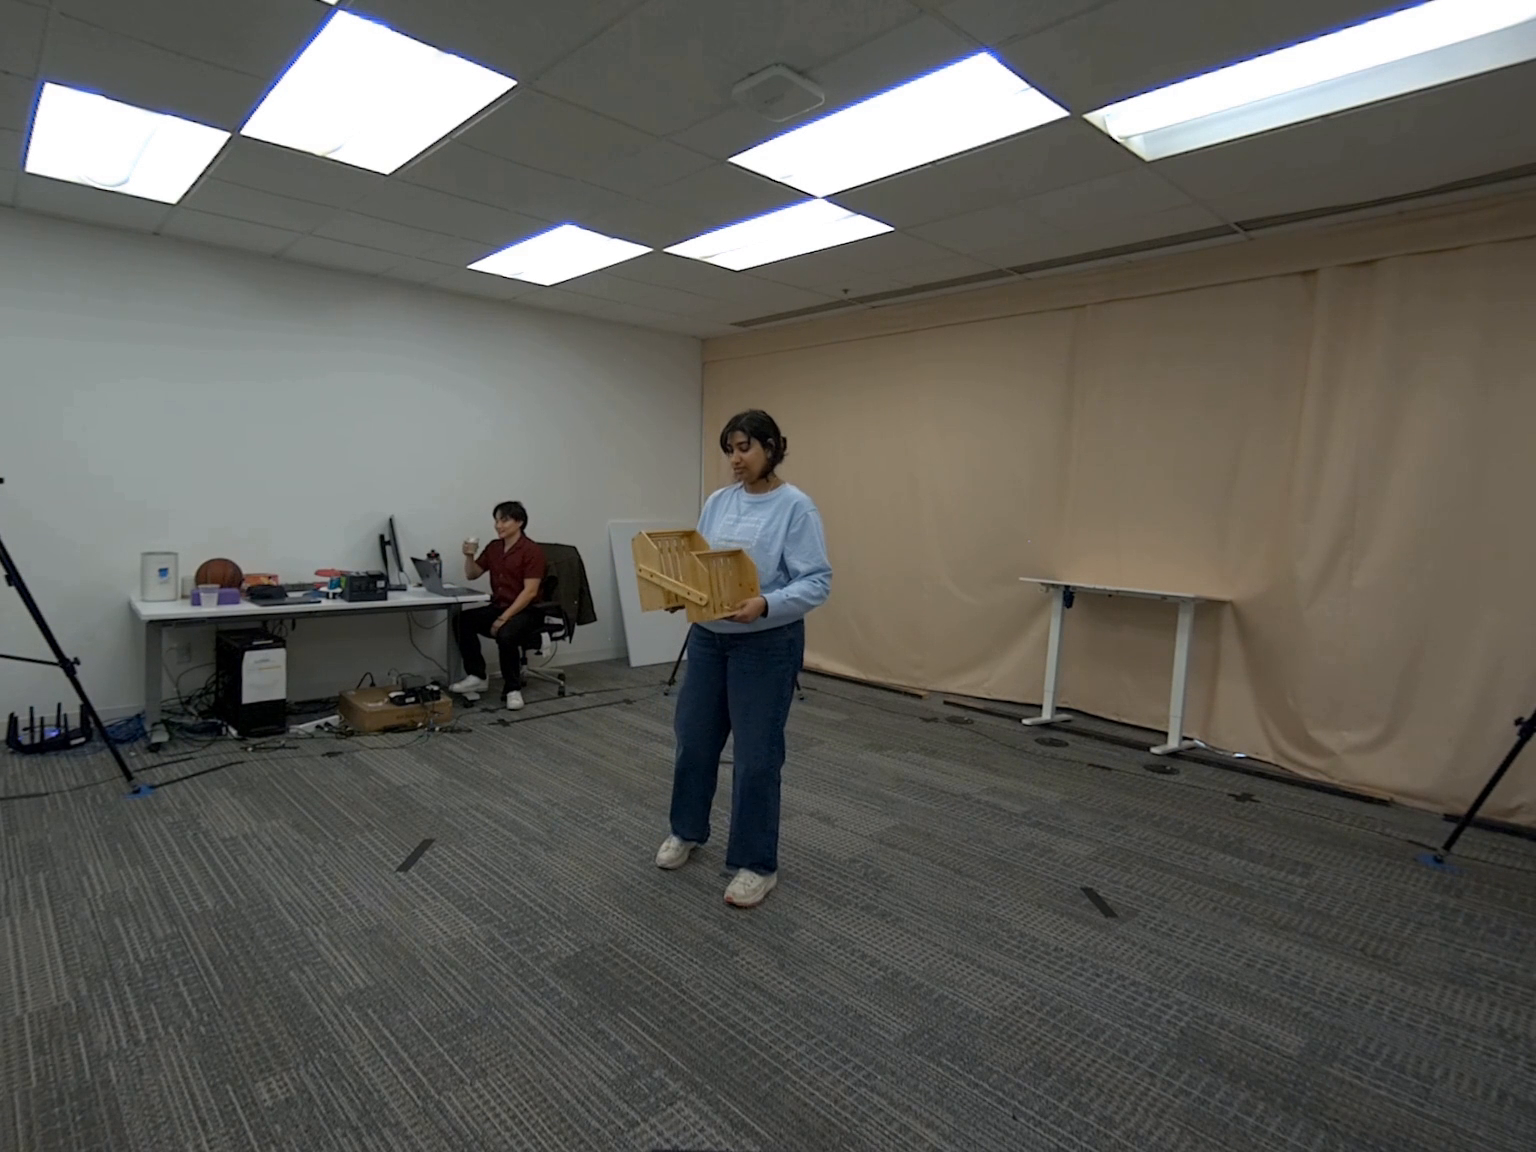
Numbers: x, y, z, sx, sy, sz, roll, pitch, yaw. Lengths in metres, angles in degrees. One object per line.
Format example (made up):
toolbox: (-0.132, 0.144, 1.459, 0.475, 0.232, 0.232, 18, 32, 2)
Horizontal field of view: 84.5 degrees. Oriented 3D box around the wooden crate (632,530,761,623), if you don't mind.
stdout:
wooden crate: (-0.236, -0.016, 2.688, 0.278, 0.302, 0.318, -9, -1, 30)
